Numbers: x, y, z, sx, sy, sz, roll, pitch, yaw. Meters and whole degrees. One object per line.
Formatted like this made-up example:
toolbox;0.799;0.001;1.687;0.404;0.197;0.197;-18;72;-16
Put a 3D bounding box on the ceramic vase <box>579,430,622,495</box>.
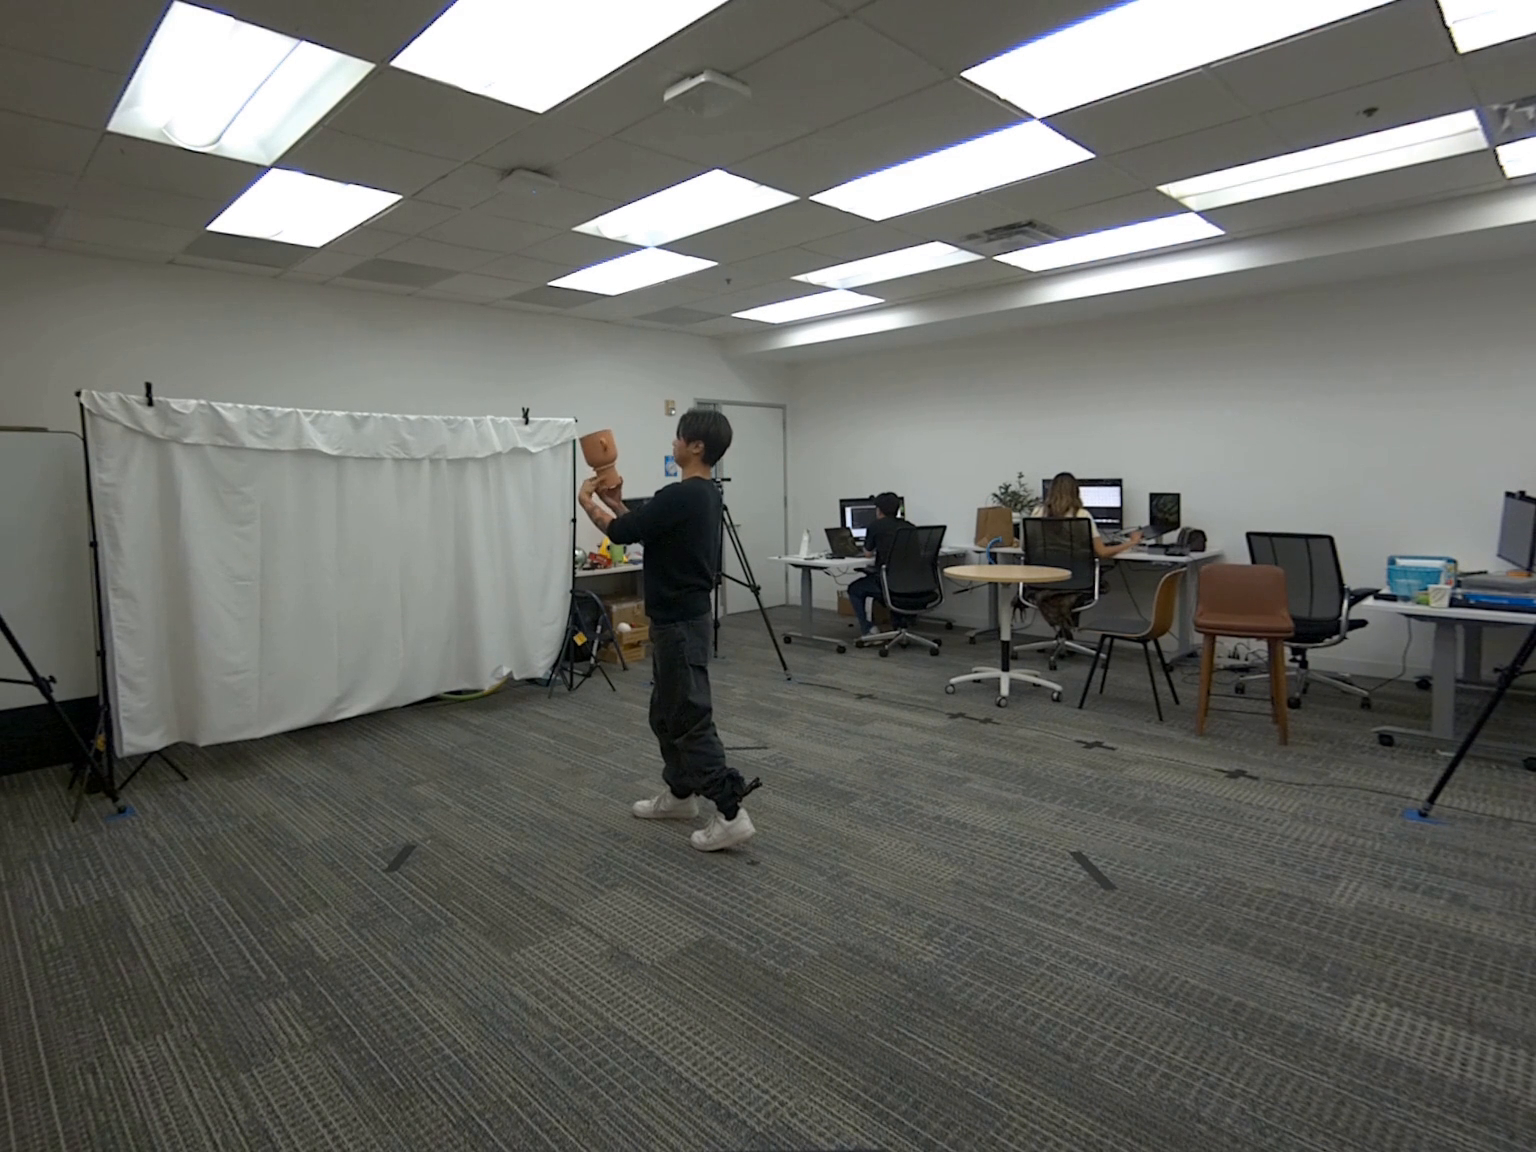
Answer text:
ceramic vase;-0.658;-0.471;3.428;0.136;0.217;0.159;-12;13;16
